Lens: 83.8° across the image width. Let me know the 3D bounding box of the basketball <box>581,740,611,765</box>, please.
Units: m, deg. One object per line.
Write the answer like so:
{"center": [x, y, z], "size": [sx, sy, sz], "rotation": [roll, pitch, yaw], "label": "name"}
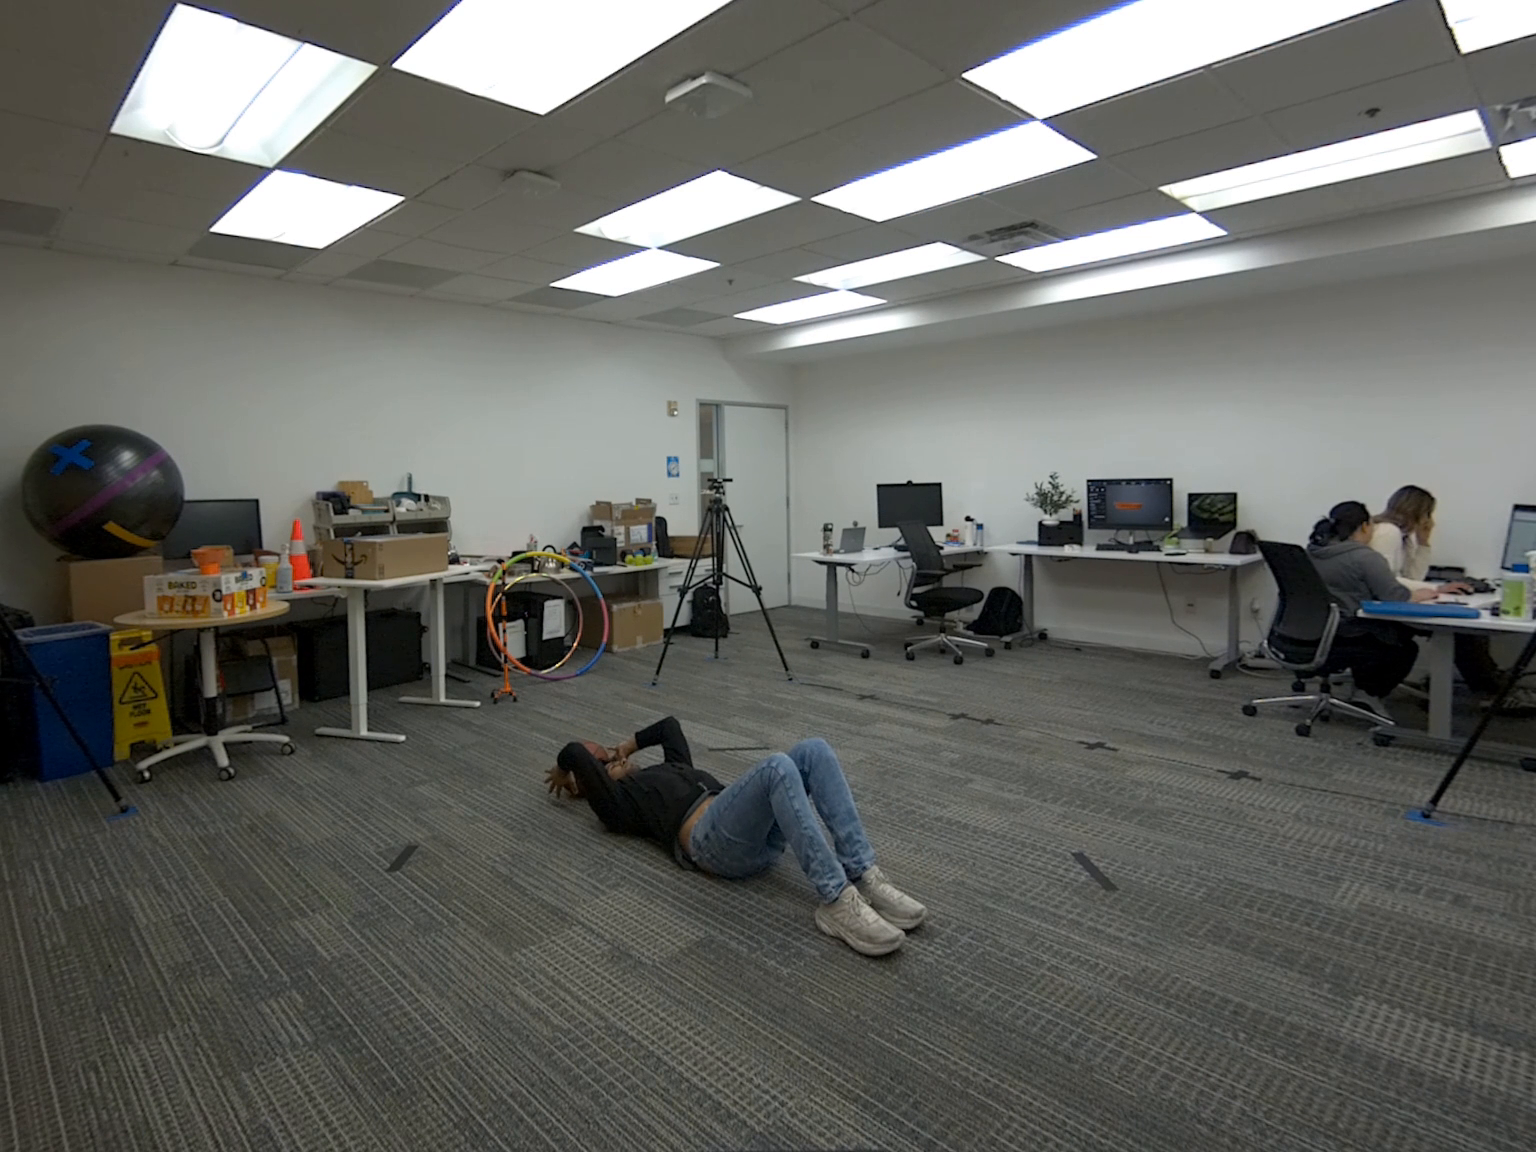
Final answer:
{"center": [-0.821, 0.858, 3.827], "size": [0.236, 0.235, 0.237], "rotation": [-1, 5, -2], "label": "basketball"}
